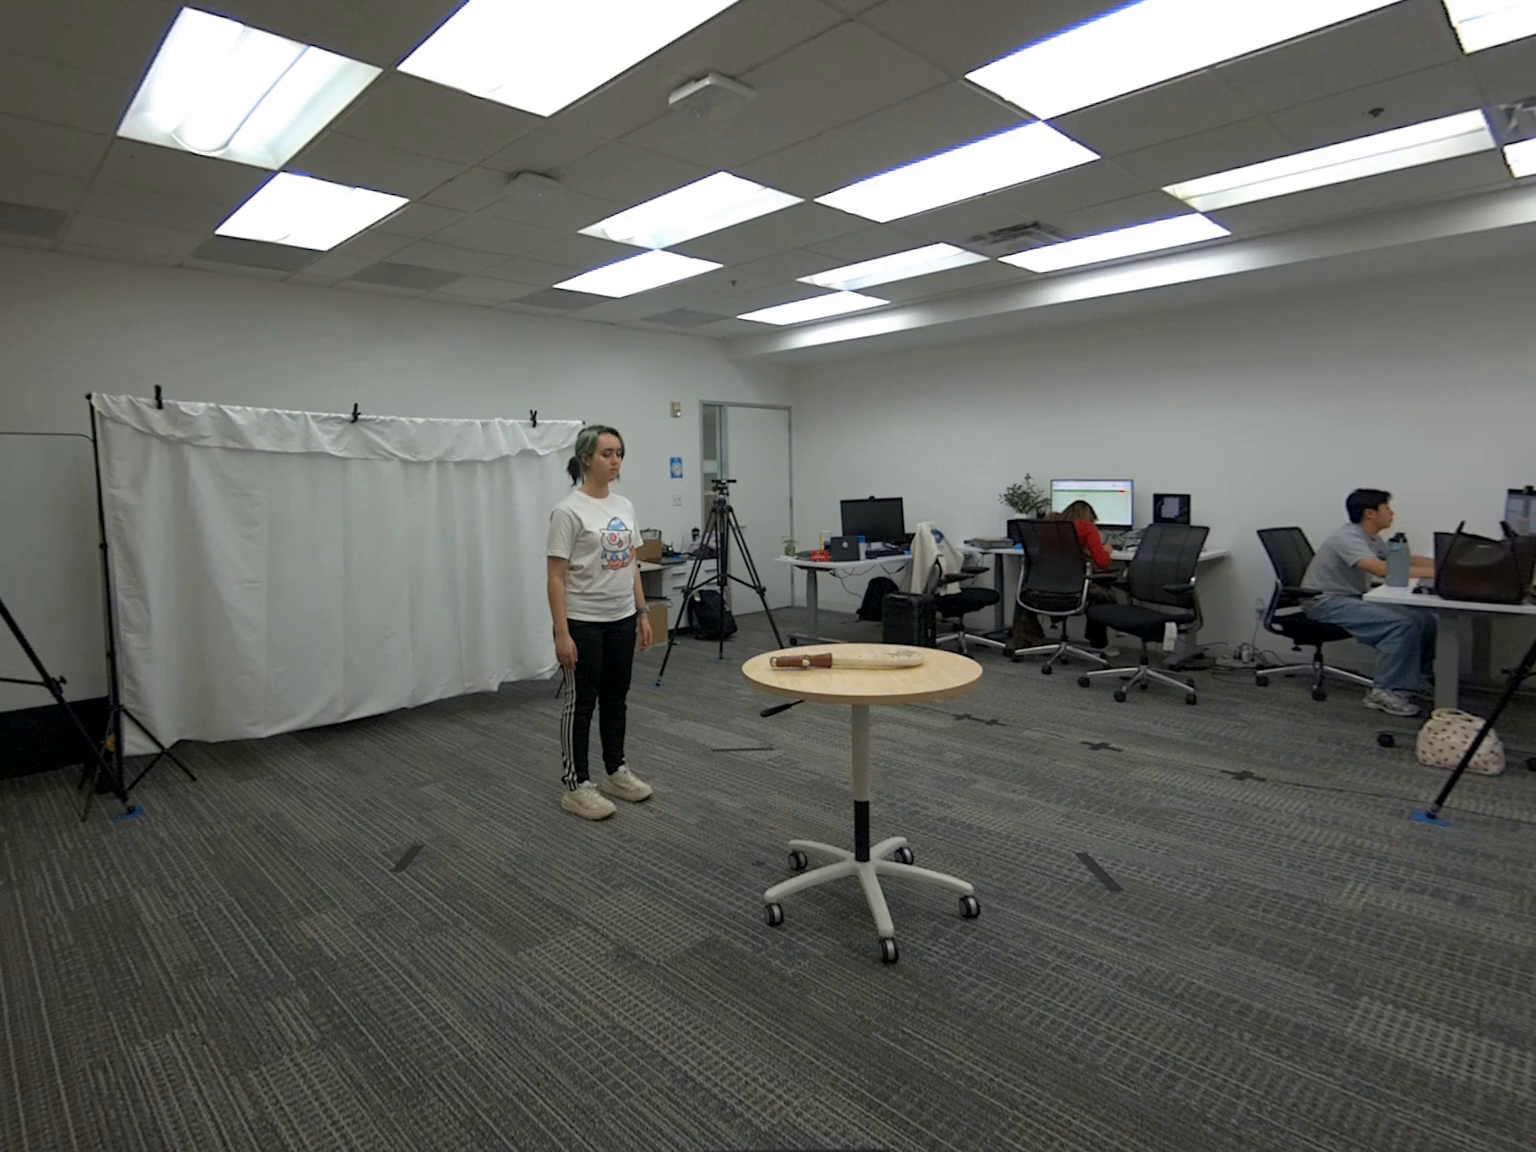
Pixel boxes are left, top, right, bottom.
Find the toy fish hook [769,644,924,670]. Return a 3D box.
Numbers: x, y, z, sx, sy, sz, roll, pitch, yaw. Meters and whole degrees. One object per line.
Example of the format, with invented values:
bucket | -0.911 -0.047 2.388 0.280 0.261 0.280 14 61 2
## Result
toy fish hook | 0.259 0.275 2.801 0.506 0.048 0.224 0 -1 -1
